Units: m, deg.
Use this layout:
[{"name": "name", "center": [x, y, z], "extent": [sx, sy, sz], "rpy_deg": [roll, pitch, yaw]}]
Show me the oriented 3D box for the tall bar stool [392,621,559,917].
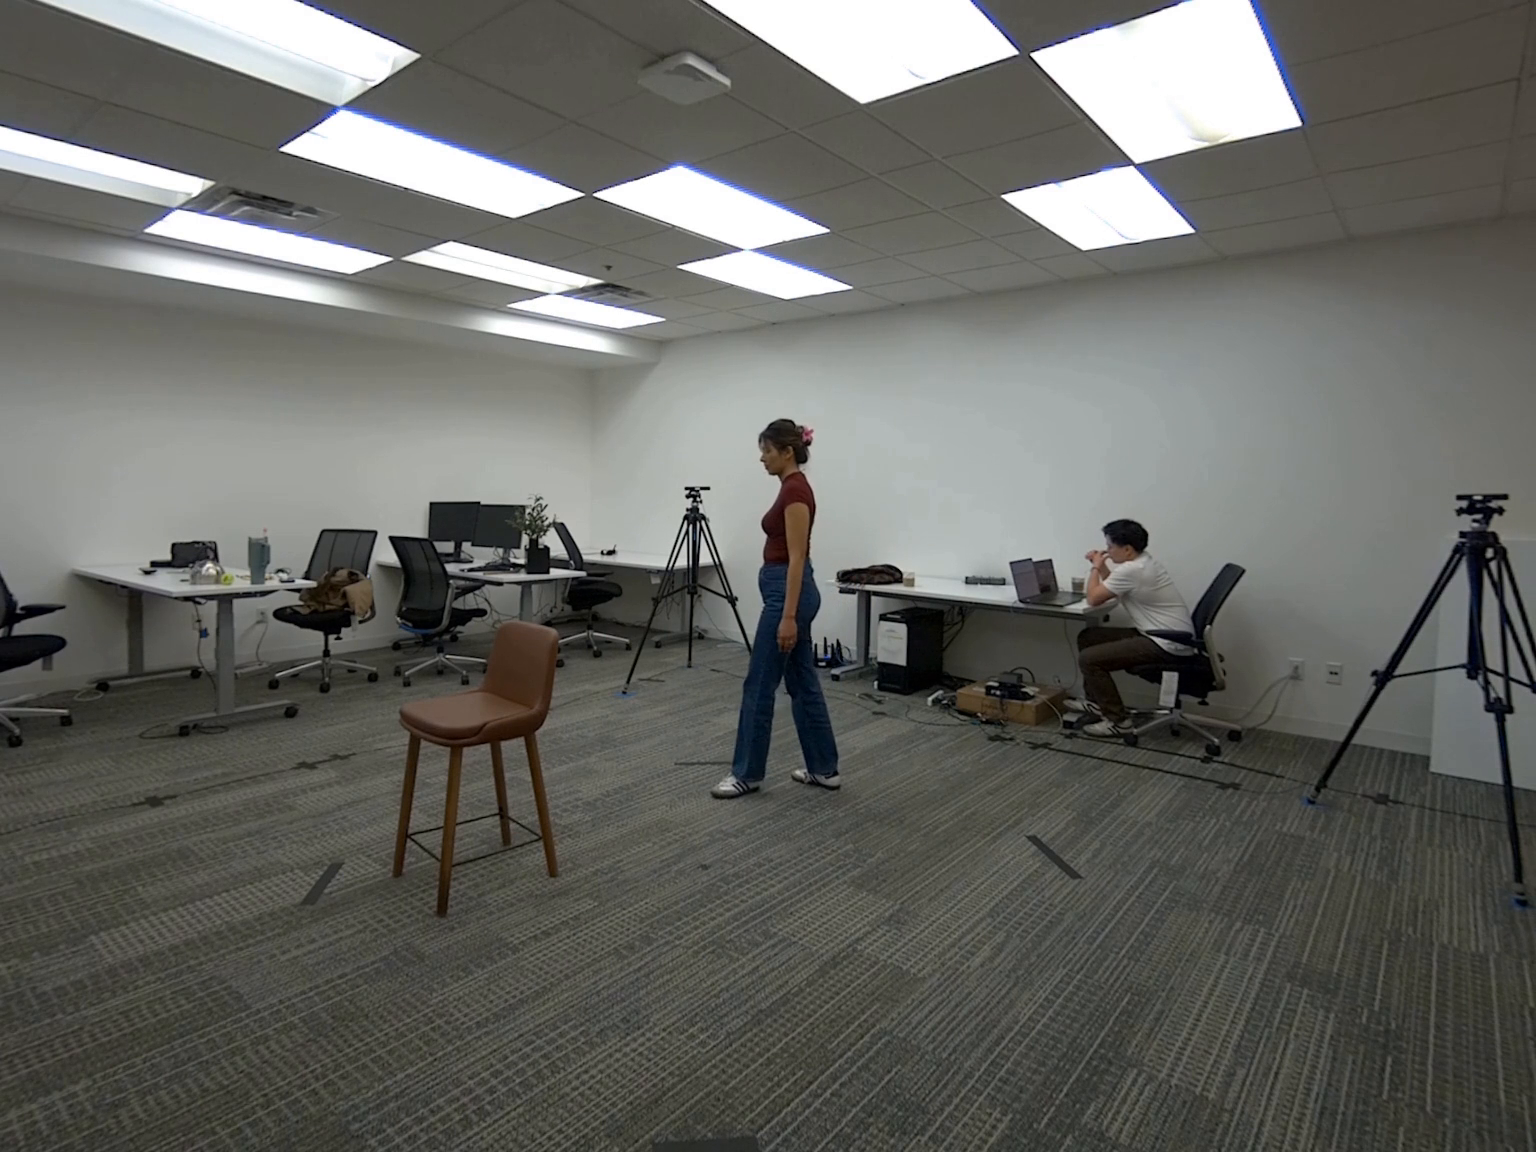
[{"name": "tall bar stool", "center": [-1.040, 0.632, 3.003], "extent": [0.453, 0.888, 0.472], "rpy_deg": [0, 3, -44]}]
